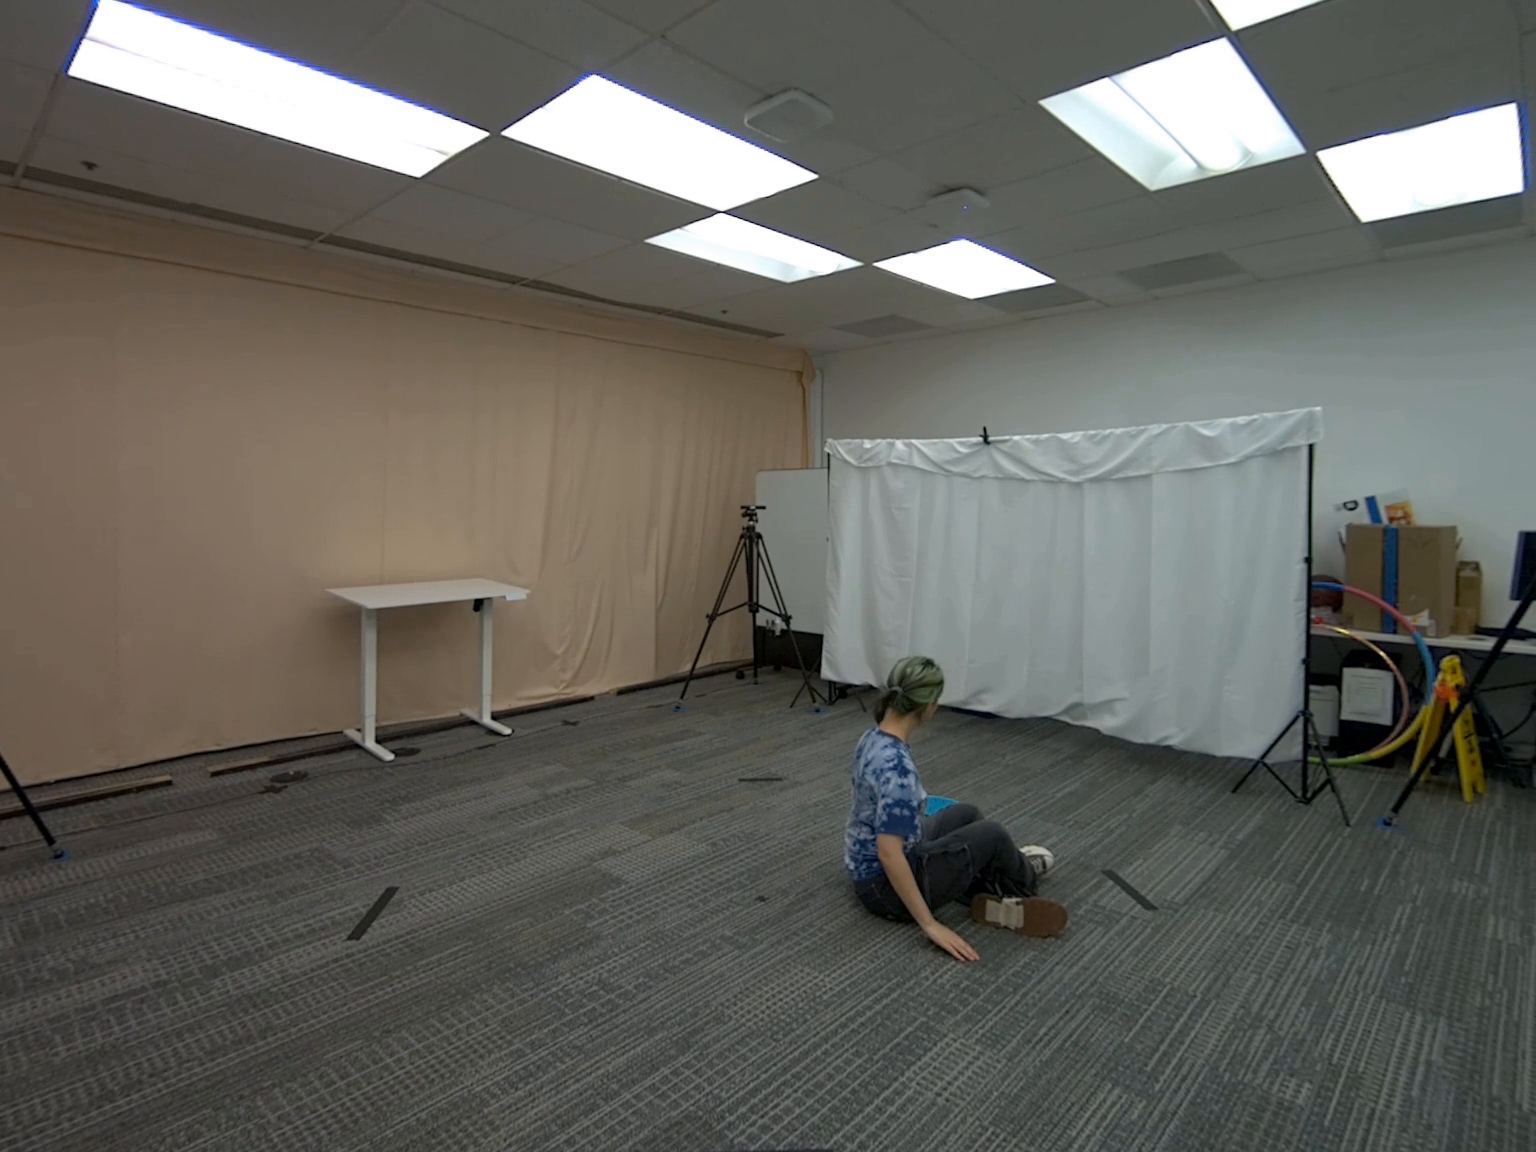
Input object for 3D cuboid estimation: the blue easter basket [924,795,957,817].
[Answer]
[{"bbox_3d":[0.700,1.023,3.482,0.243,0.155,0.244,0,4,-2],"label":"blue easter basket"}]
